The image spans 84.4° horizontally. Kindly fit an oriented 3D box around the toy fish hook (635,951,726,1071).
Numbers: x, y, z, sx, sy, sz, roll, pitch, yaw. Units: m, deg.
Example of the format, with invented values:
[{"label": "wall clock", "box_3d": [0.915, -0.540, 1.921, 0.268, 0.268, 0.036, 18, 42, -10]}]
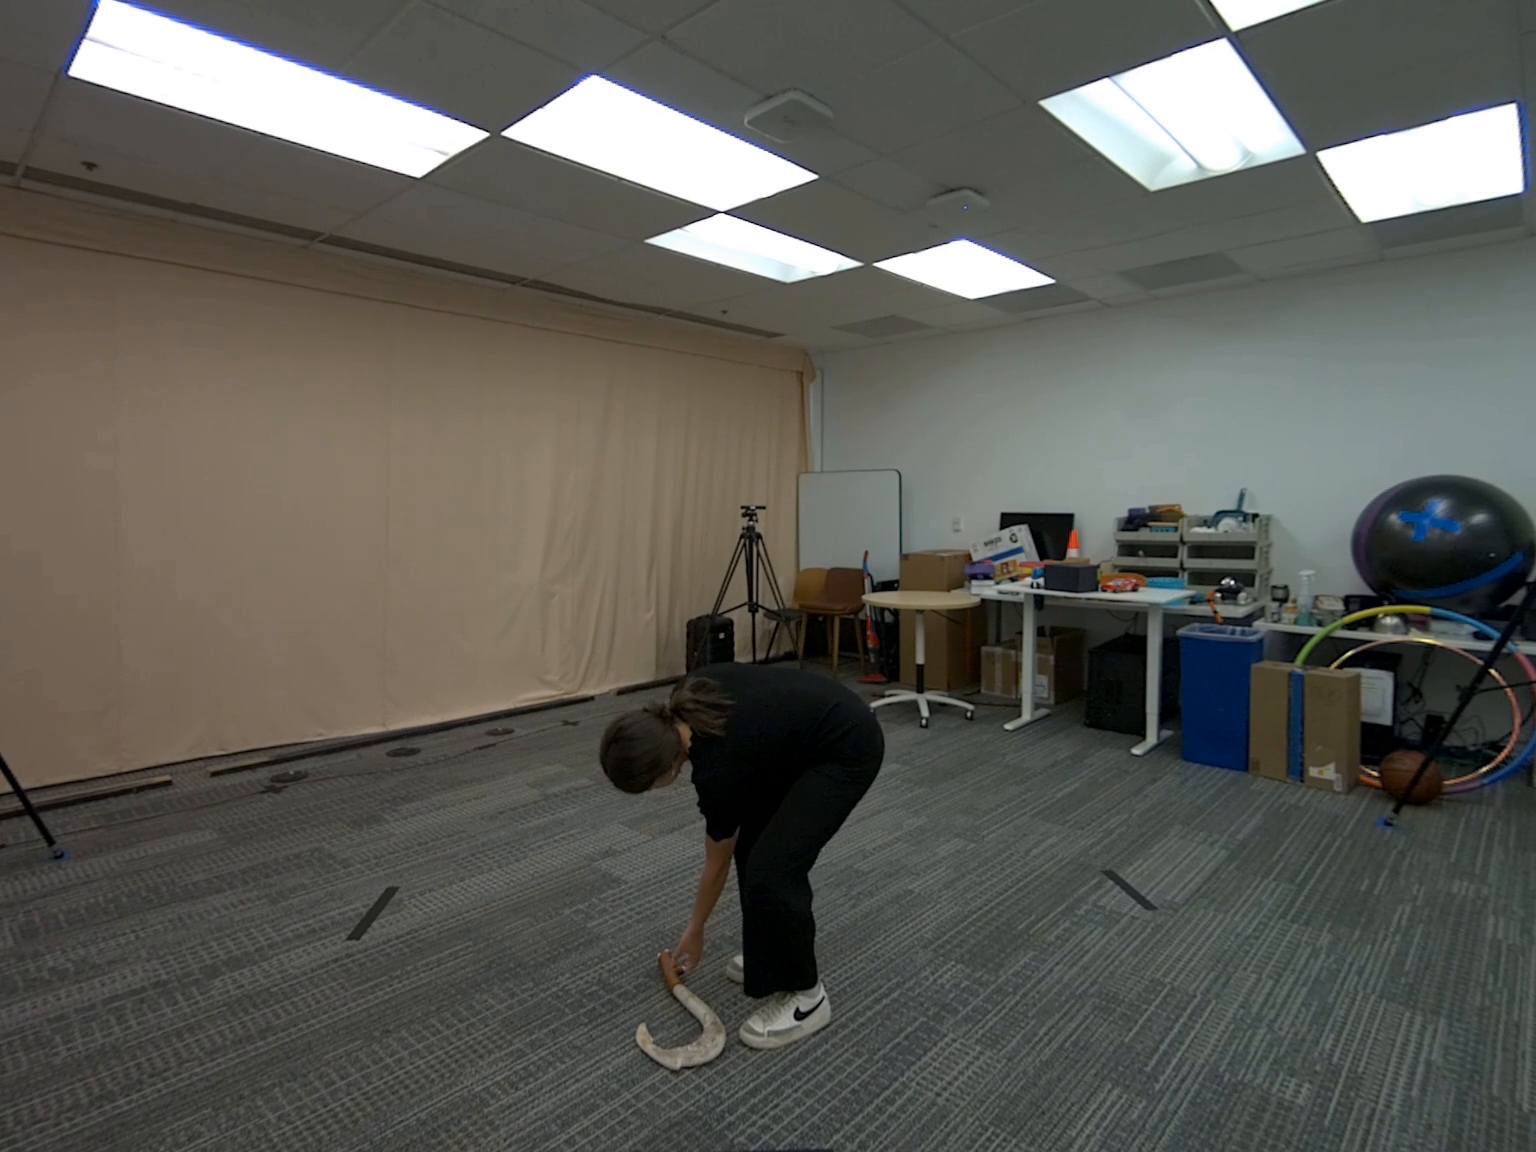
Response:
[{"label": "toy fish hook", "box_3d": [-0.272, 1.180, 2.316, 0.220, 0.048, 0.518, -1, 4, -21]}]
